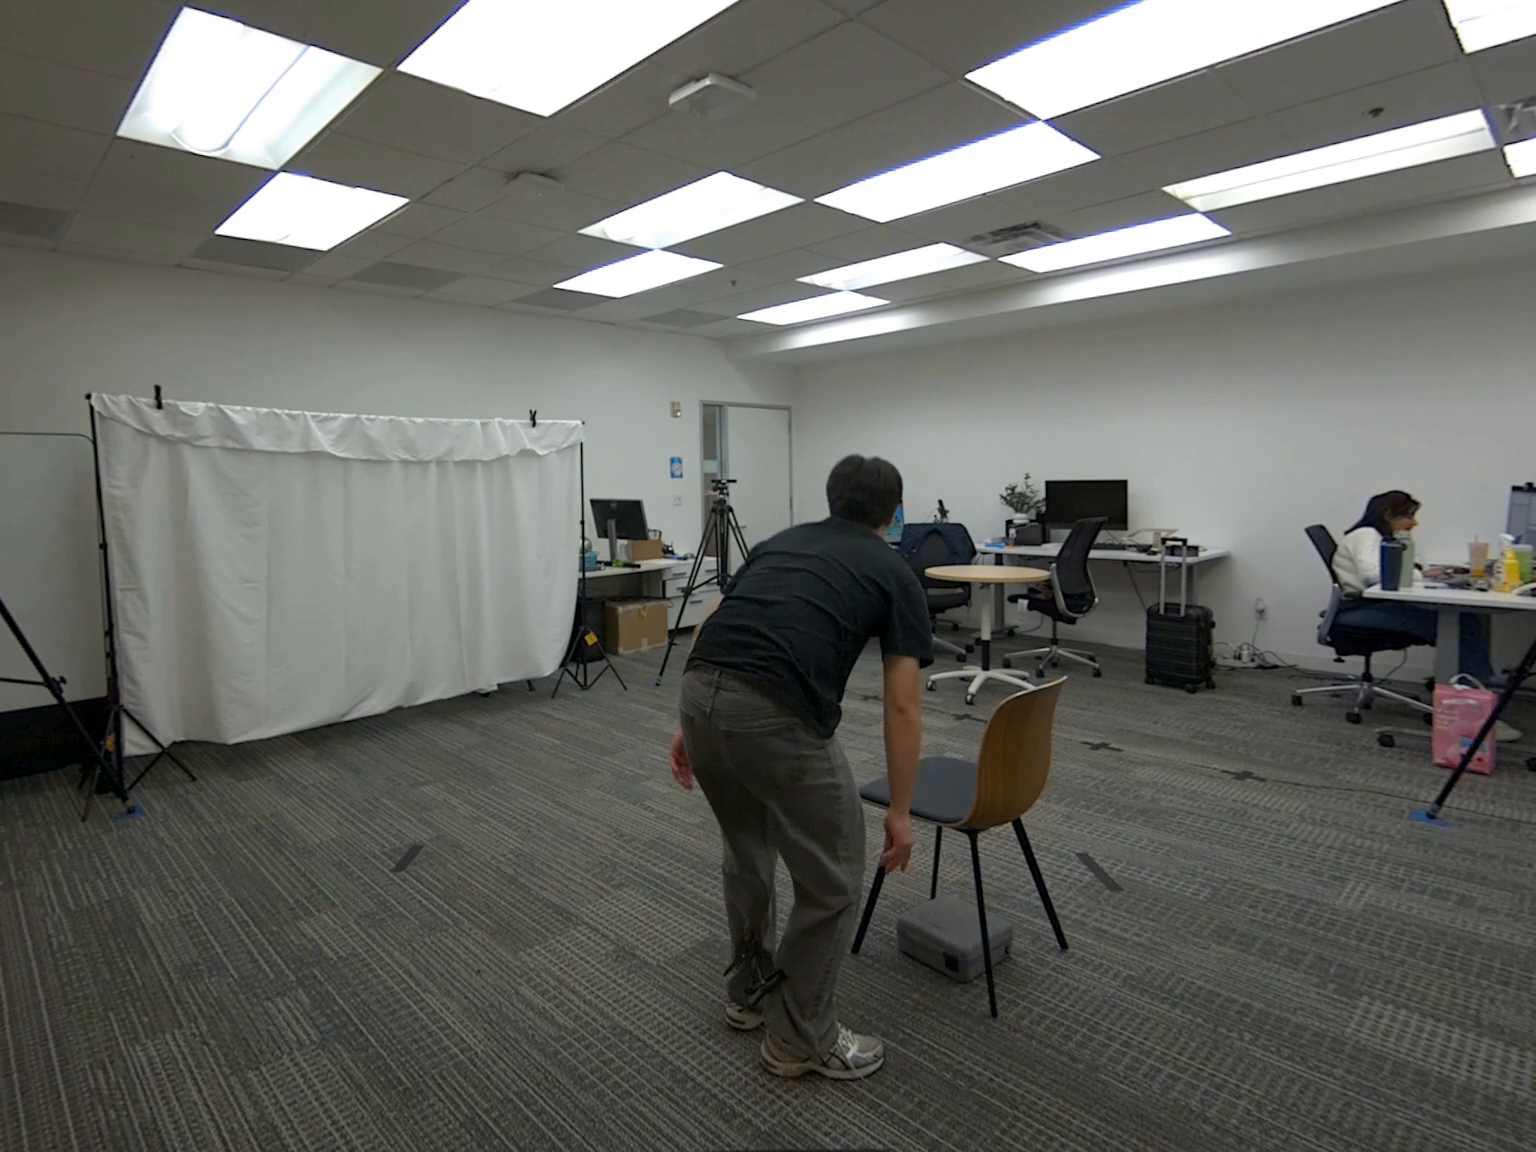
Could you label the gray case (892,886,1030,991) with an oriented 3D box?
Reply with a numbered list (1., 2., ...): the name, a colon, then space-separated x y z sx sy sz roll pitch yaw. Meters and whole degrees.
1. gray case: 0.561 1.047 2.505 0.280 0.102 0.271 -5 8 -38
